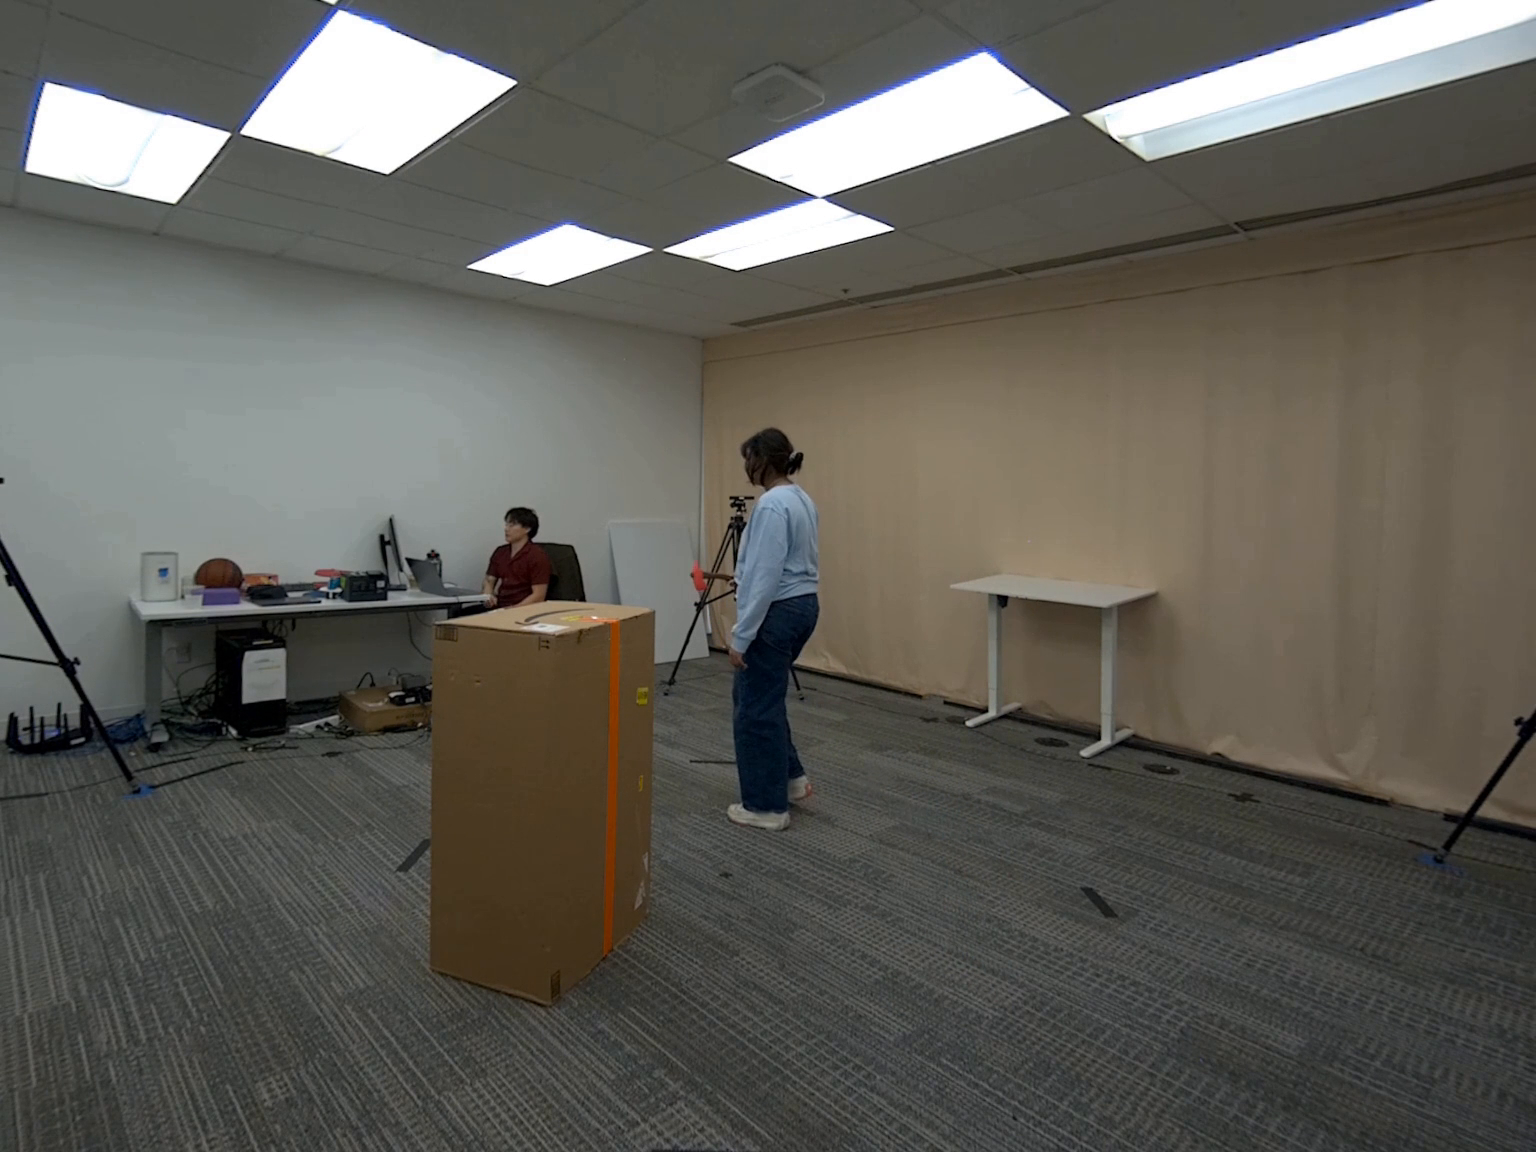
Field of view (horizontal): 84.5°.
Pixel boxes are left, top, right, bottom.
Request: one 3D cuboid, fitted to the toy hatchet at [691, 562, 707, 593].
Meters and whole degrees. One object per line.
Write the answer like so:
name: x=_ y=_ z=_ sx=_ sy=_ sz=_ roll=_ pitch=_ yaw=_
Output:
toy hatchet: x=-0.219 y=0.038 z=3.720 sx=0.266 sy=0.132 sz=0.029 roll=21 pitch=-25 yaw=-13
